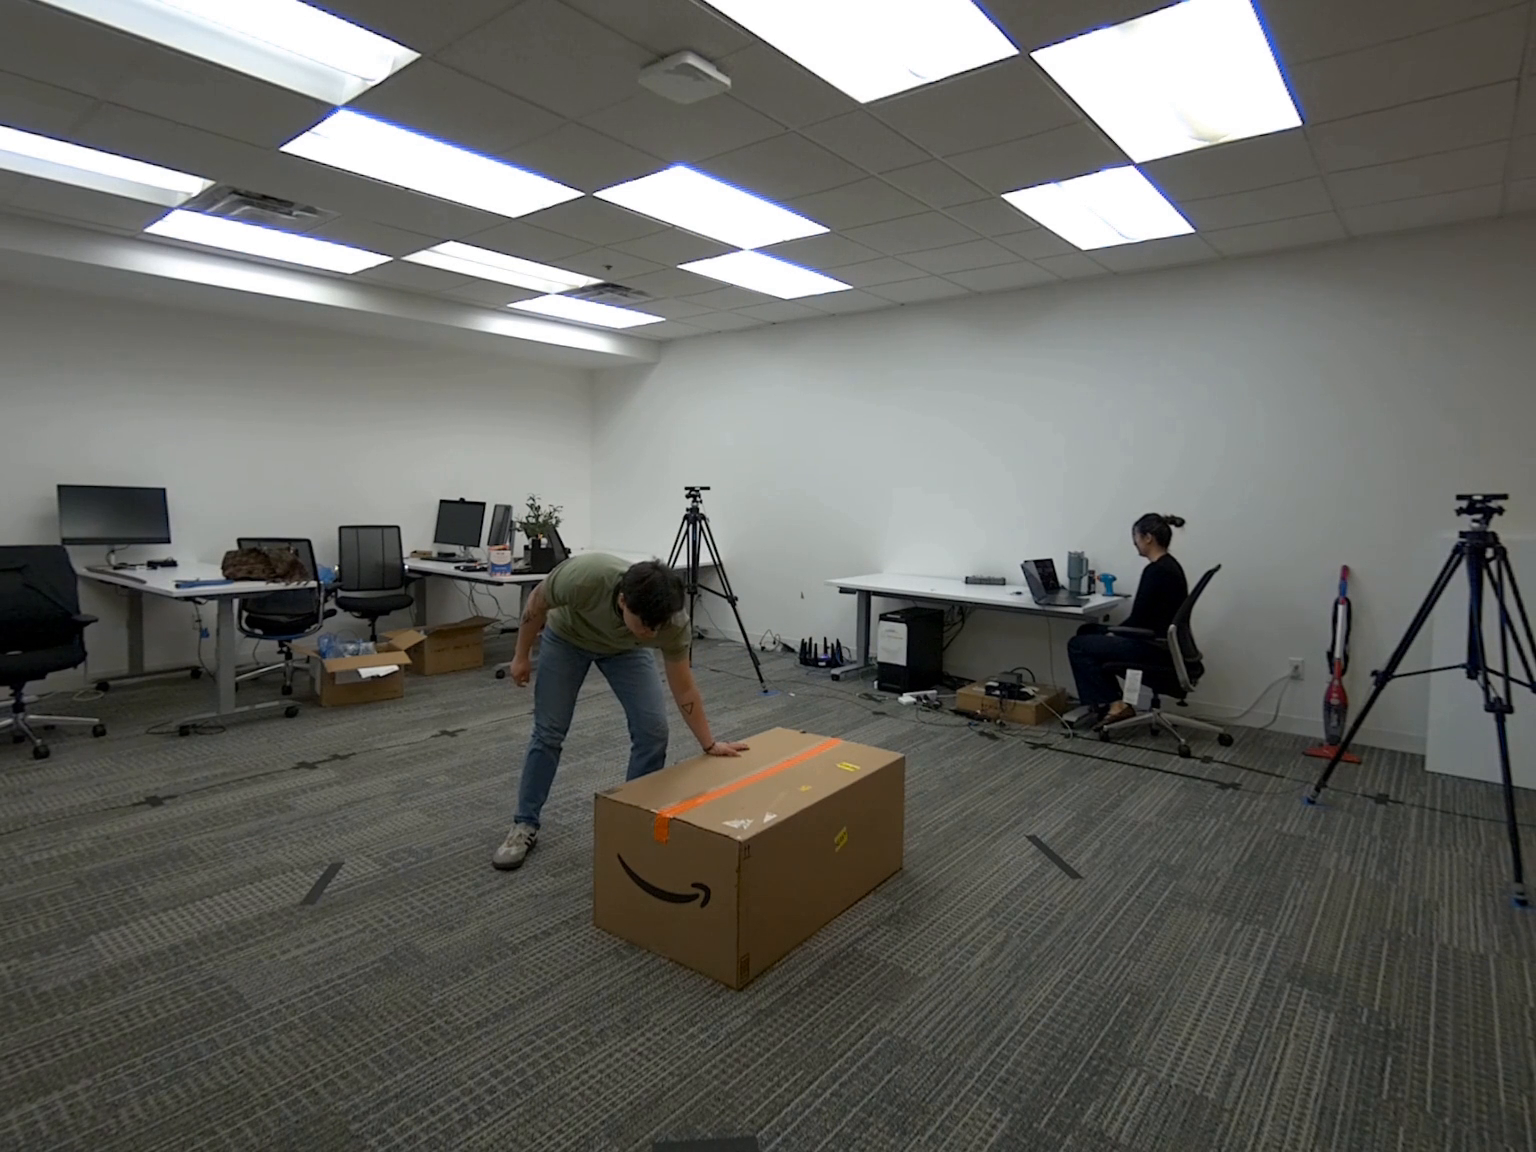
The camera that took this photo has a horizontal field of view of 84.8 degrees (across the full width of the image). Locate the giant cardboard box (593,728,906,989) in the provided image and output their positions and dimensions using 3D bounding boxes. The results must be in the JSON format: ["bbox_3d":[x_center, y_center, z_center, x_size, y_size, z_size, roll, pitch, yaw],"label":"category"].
[{"bbox_3d":[-0.034,0.875,2.904,0.596,0.424,0.997,4,6,36],"label":"giant cardboard box"}]
